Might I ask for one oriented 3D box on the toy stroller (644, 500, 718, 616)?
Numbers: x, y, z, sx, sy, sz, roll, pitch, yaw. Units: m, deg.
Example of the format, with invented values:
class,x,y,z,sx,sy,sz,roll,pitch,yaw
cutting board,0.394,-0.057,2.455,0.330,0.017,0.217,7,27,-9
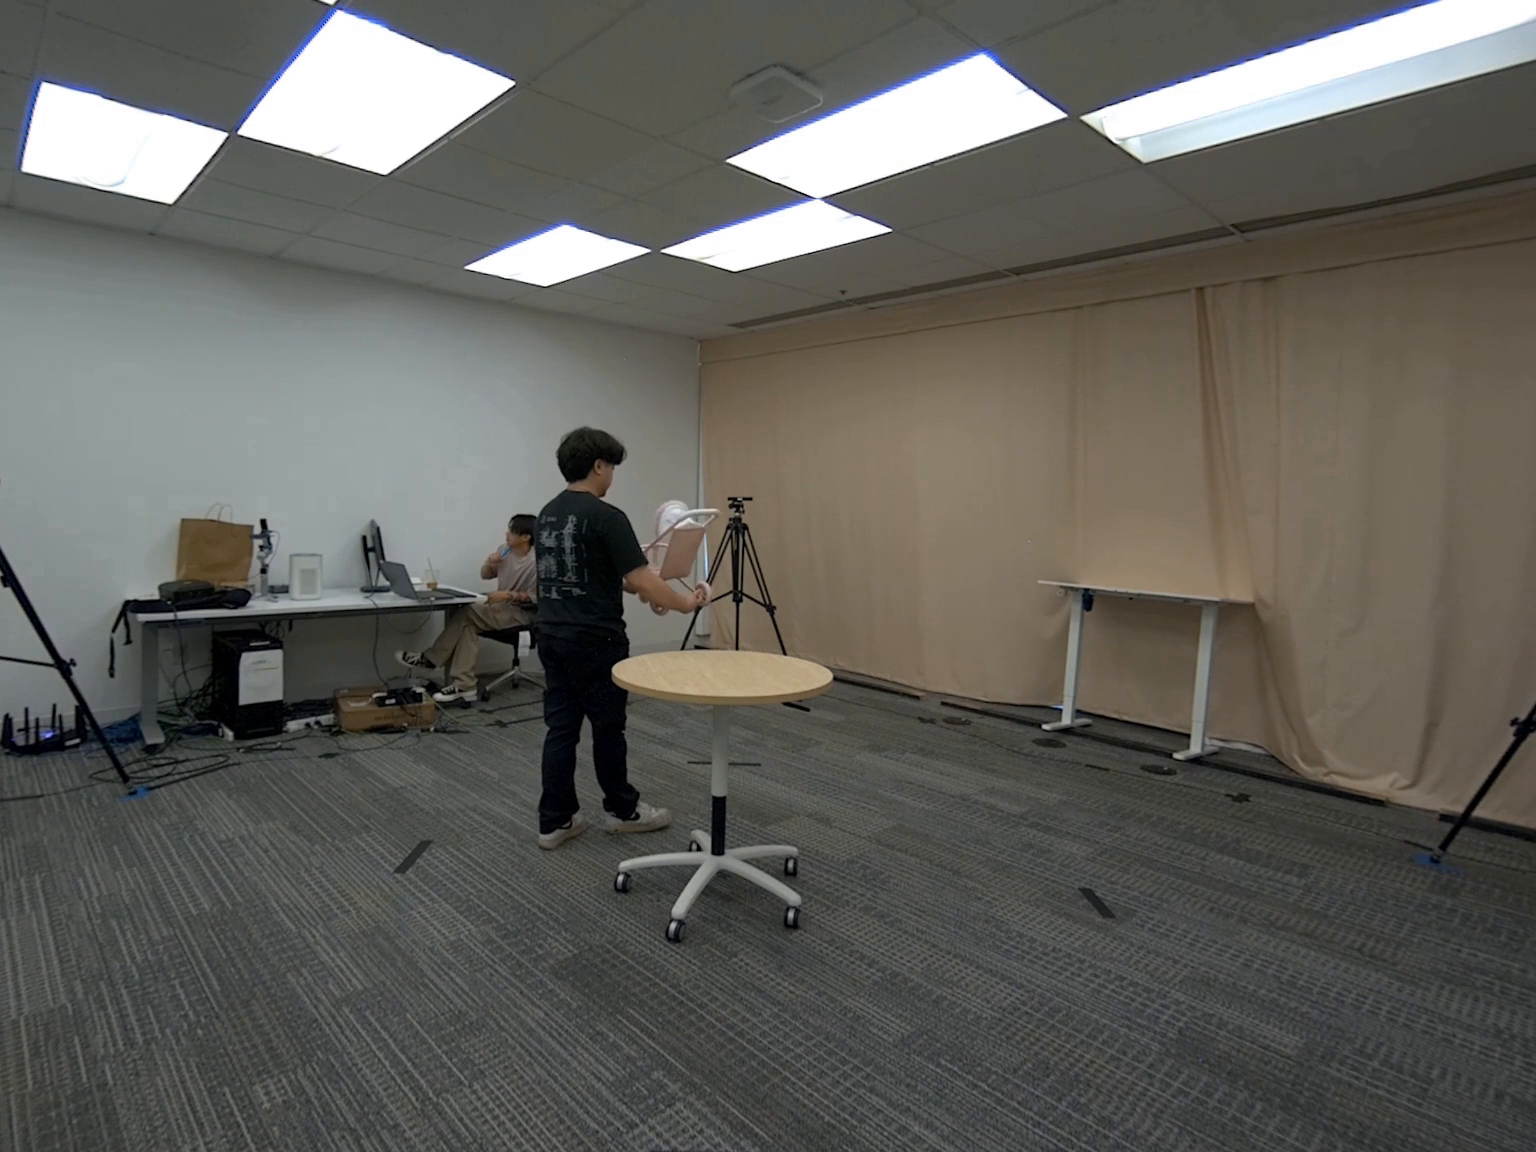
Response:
class,x,y,z,sx,sy,sz,roll,pitch,yaw
toy stroller,-0.422,-0.092,3.592,0.275,0.529,0.352,-7,25,-42
